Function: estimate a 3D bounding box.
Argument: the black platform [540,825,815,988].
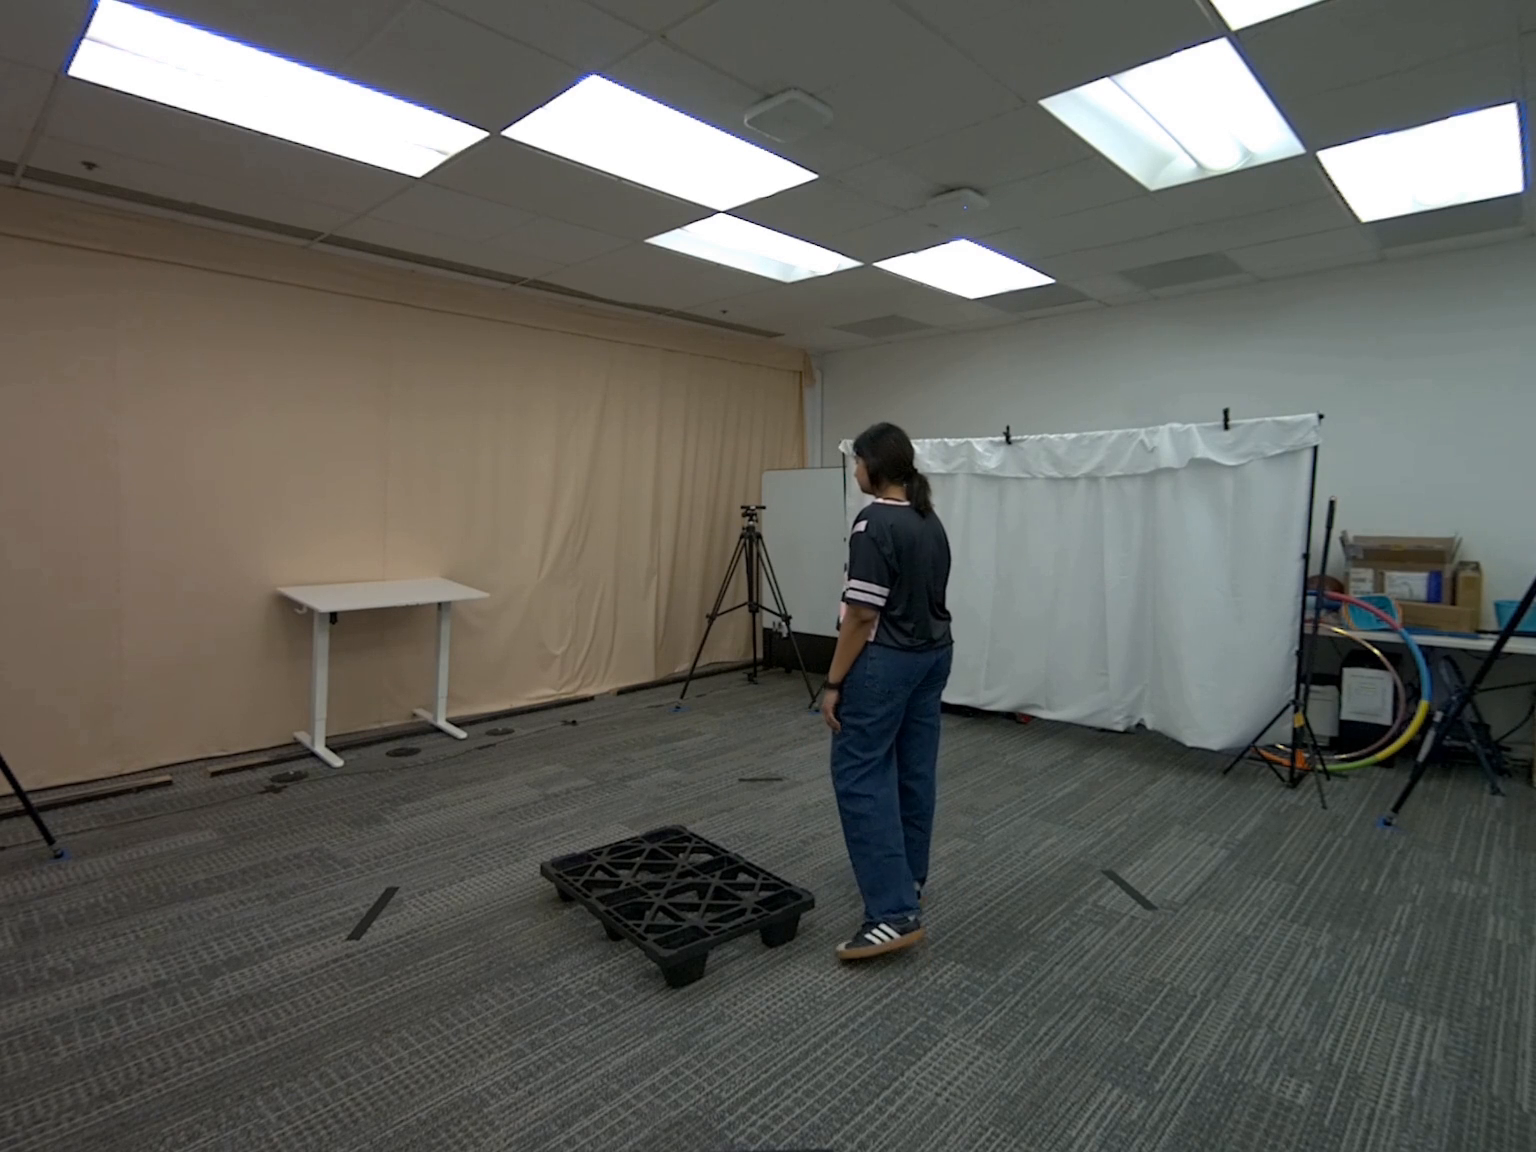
[{"bbox_3d":[-0.325,1.095,2.845,0.587,0.143,0.832,-5,6,-39],"label":"black platform"}]
